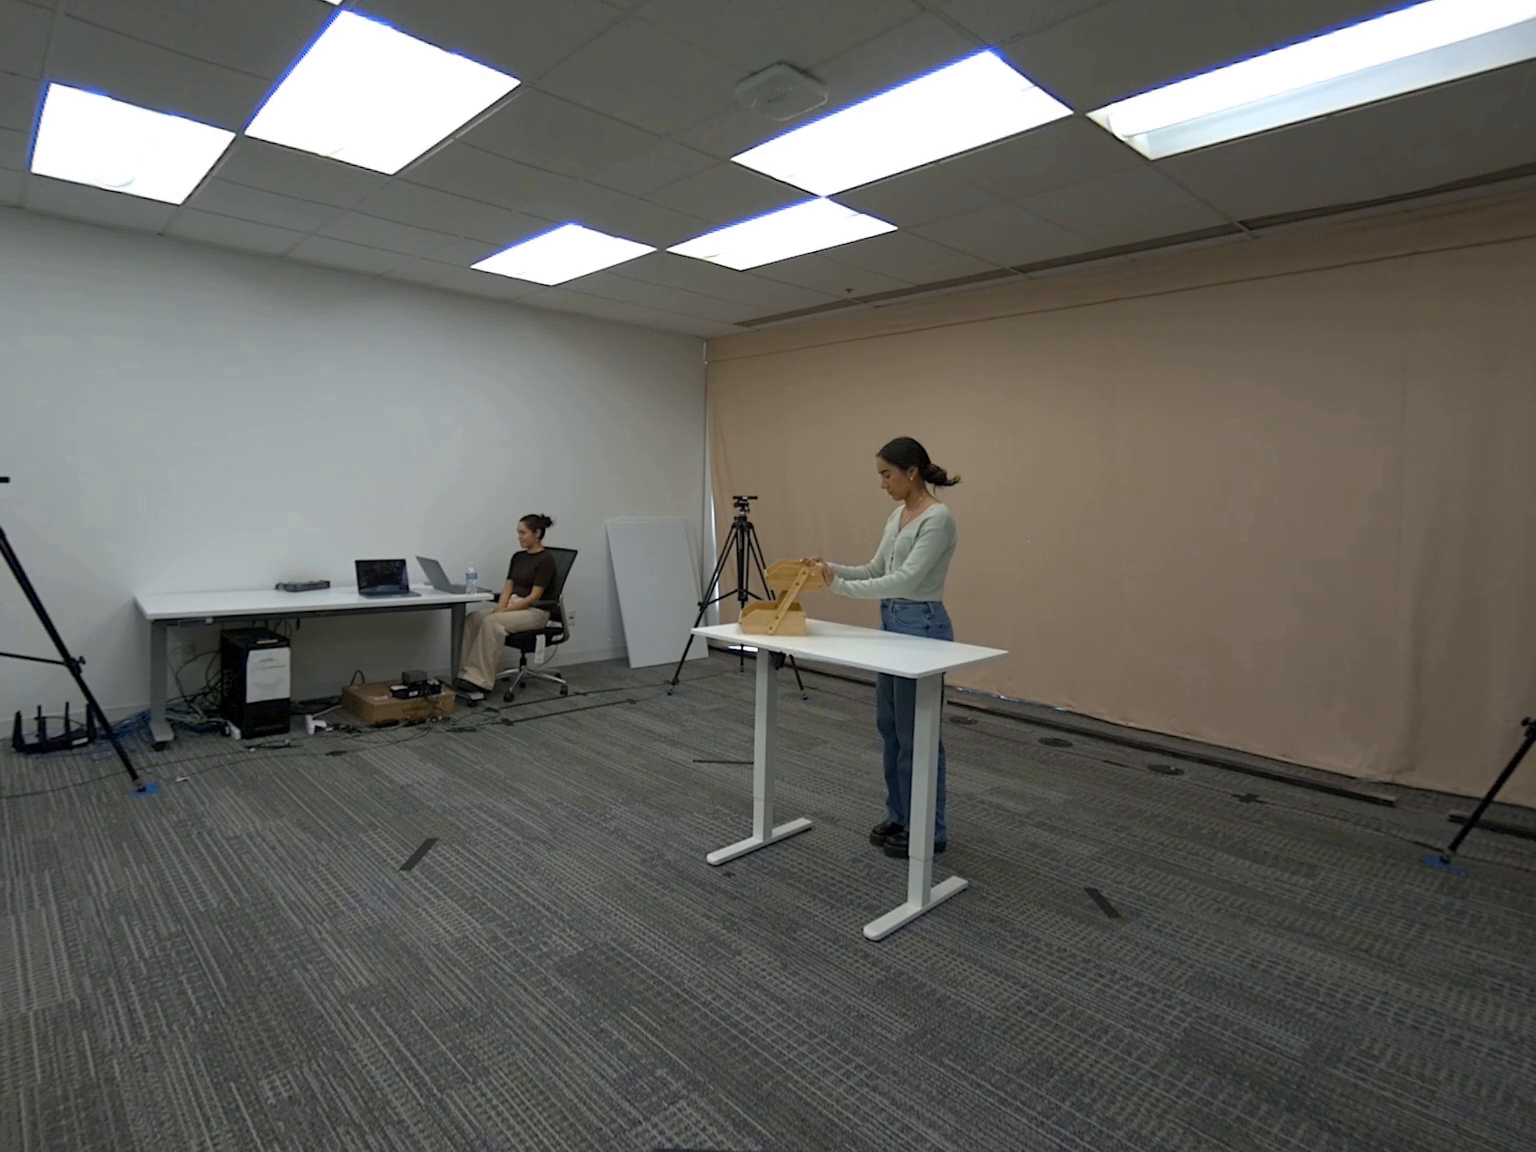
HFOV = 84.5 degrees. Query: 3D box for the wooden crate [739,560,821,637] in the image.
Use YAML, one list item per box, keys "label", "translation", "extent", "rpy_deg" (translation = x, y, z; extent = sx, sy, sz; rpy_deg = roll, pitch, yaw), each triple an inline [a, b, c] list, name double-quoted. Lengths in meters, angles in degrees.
- label: "wooden crate"
  translation: [0.040, 0.077, 3.264]
  extent: [0.302, 0.272, 0.325]
  rpy_deg: [3, 4, 0]
